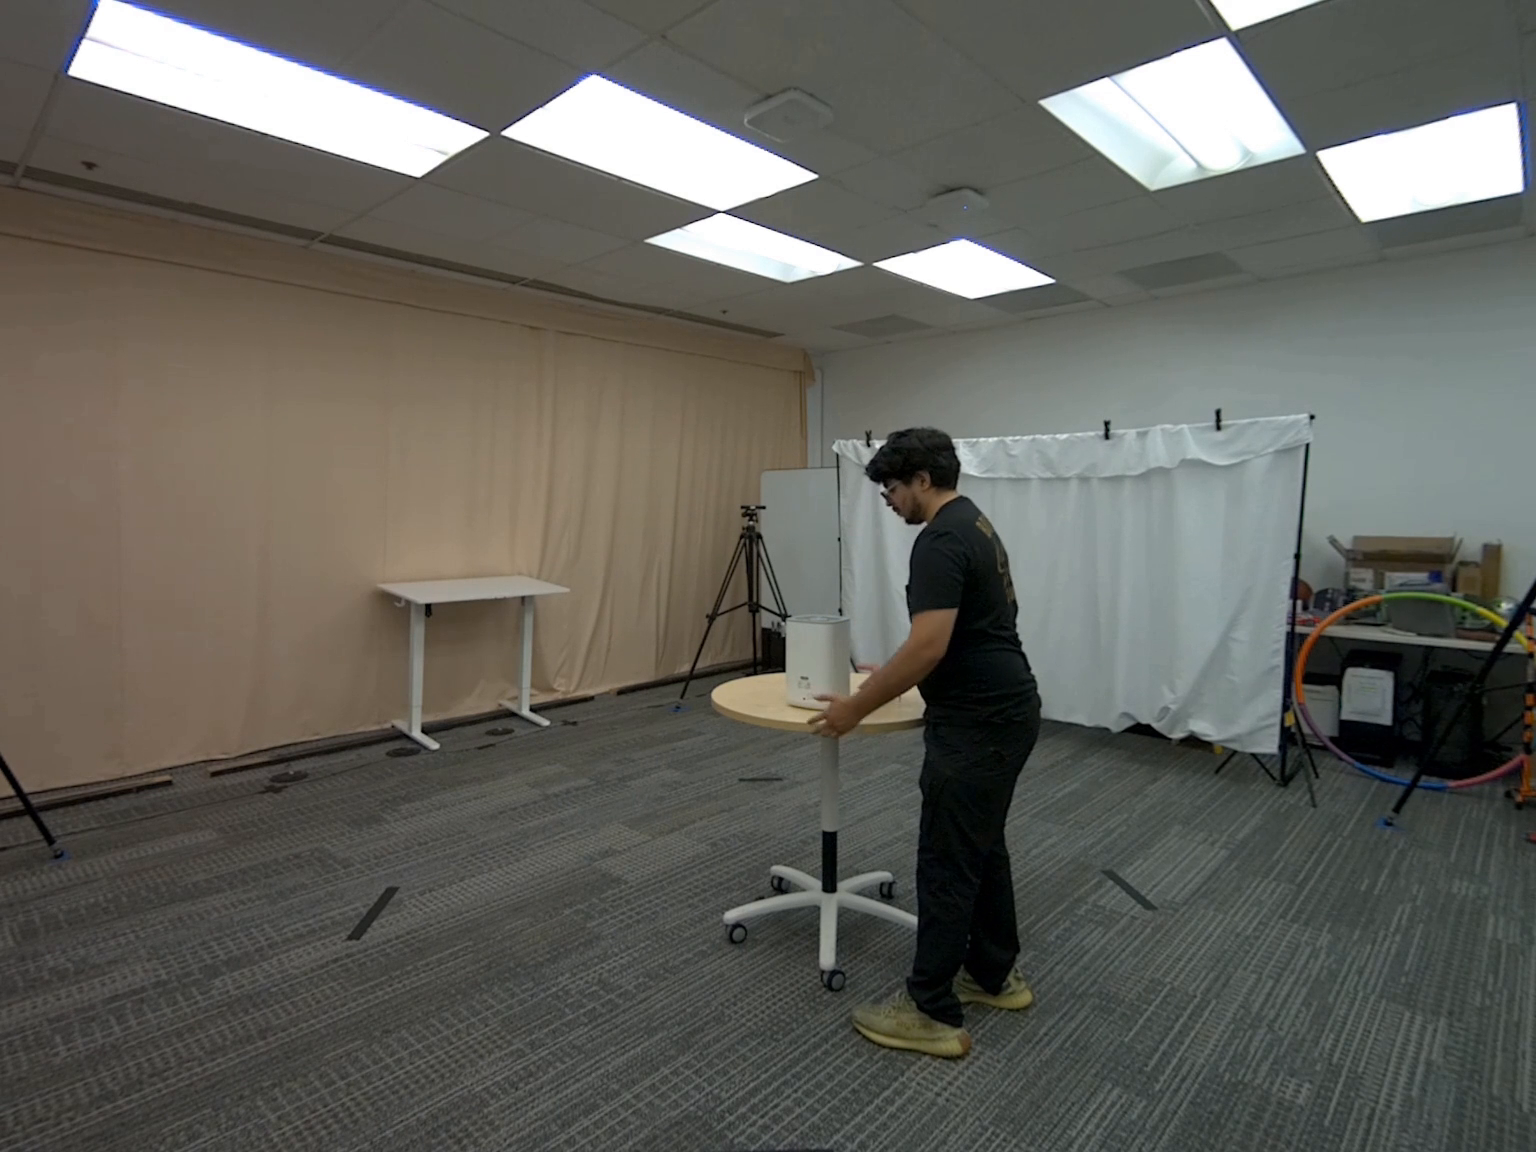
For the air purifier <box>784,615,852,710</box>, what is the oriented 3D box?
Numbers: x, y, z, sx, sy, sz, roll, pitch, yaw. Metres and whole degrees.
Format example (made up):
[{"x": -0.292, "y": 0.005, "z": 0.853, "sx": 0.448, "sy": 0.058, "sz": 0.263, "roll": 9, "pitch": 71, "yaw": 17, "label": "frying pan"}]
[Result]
[{"x": 0.160, "y": 0.263, "z": 2.555, "sx": 0.176, "sy": 0.265, "sz": 0.166, "roll": 1, "pitch": 3, "yaw": 35, "label": "air purifier"}]
